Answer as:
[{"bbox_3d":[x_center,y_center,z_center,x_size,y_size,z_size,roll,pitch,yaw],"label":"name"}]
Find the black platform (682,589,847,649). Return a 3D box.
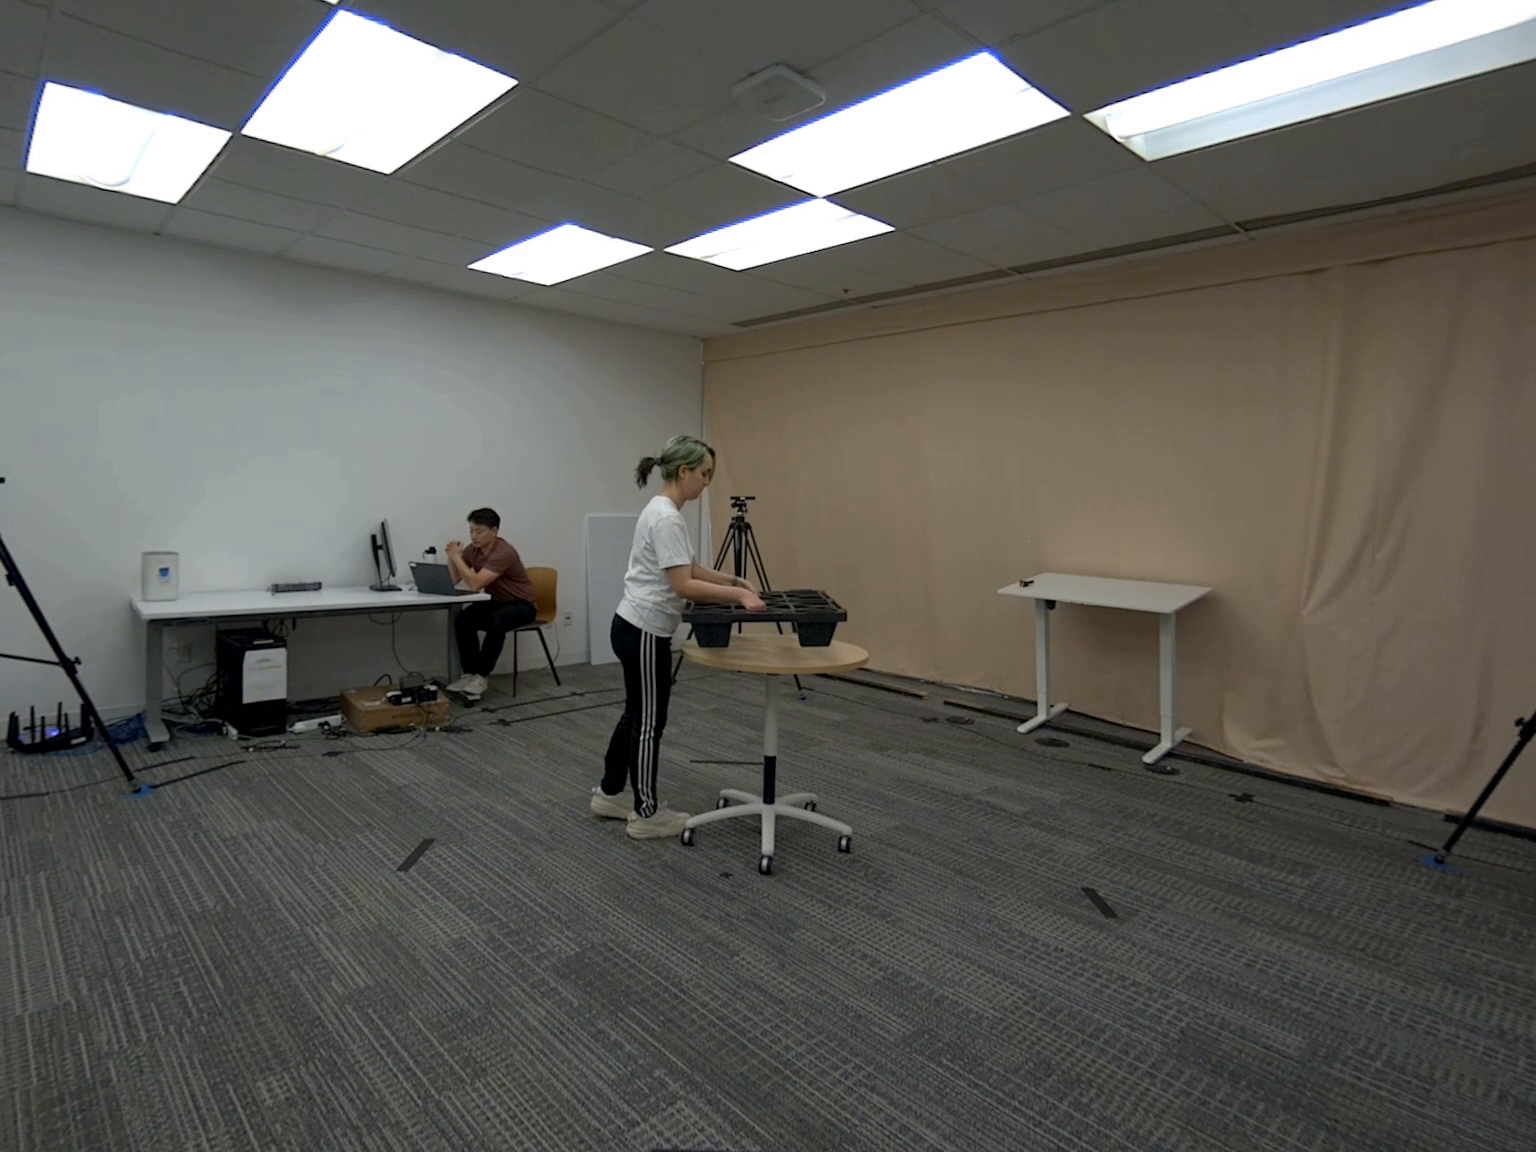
[{"bbox_3d":[-0.047,0.162,3.419,0.605,0.143,0.808,-1,6,-1],"label":"black platform"}]
